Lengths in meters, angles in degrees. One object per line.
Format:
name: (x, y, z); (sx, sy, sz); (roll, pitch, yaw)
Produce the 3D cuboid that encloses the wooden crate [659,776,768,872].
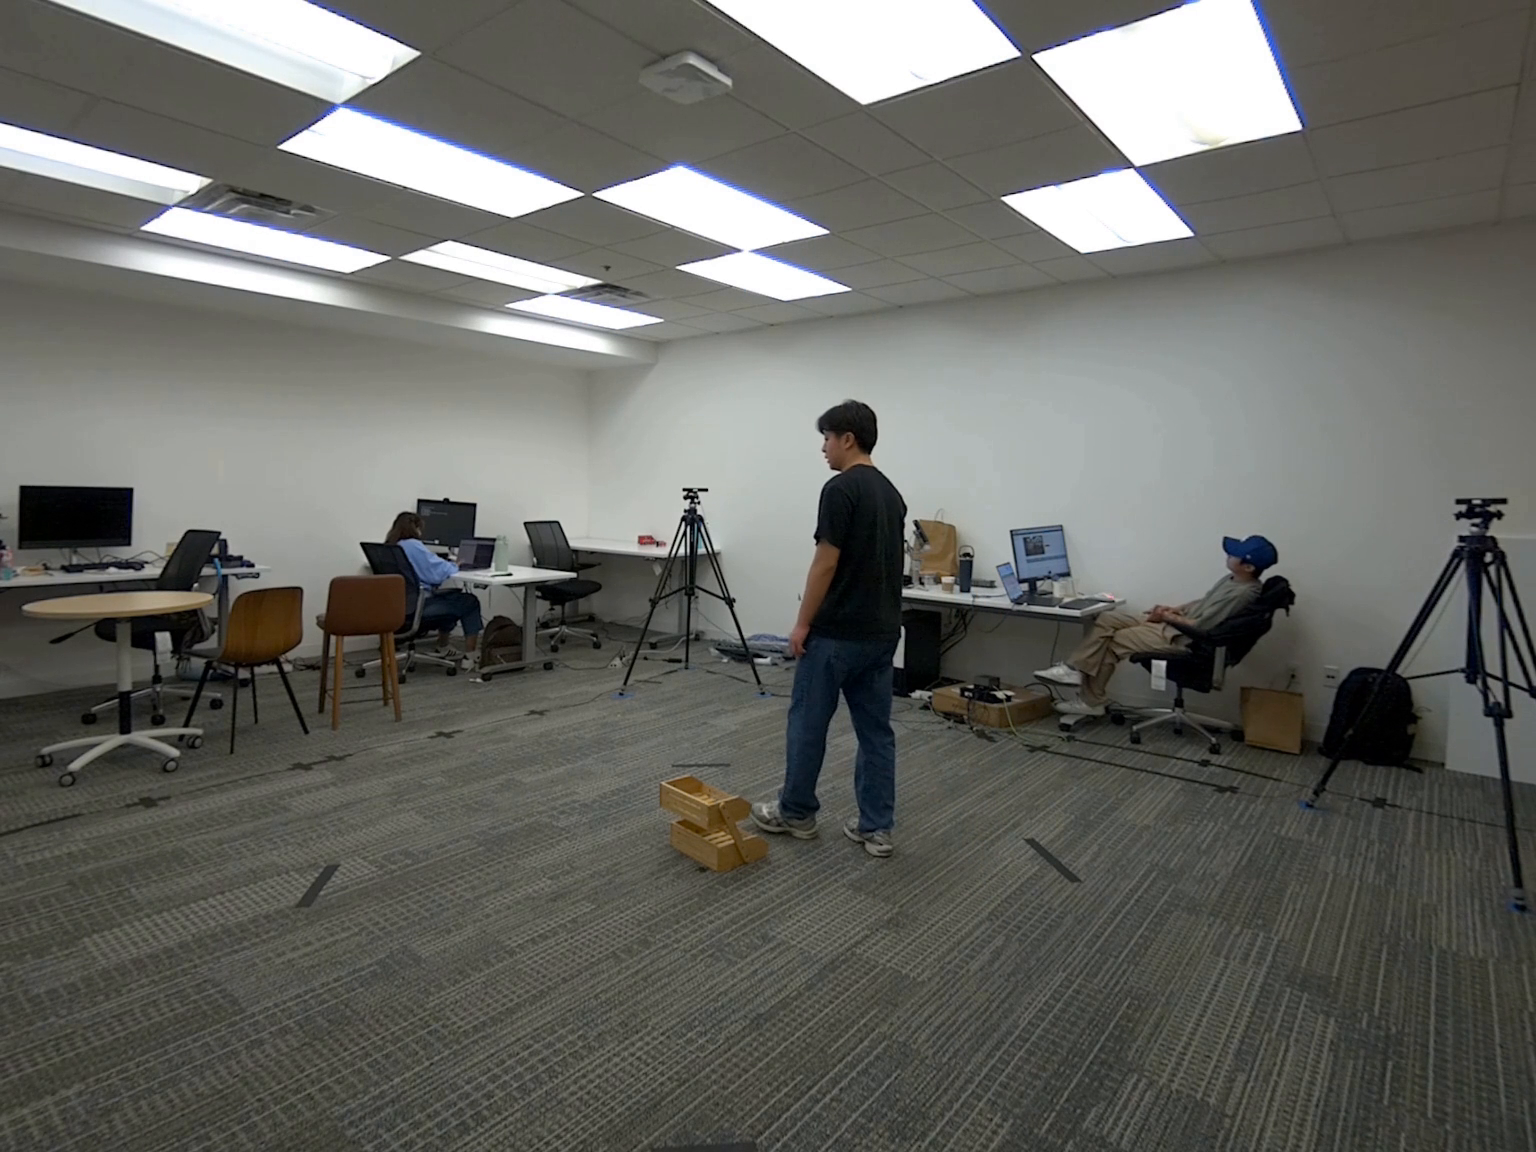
wooden crate: (-0.214, 0.921, 3.256); (0.293, 0.272, 0.335); (-3, 6, -41)
